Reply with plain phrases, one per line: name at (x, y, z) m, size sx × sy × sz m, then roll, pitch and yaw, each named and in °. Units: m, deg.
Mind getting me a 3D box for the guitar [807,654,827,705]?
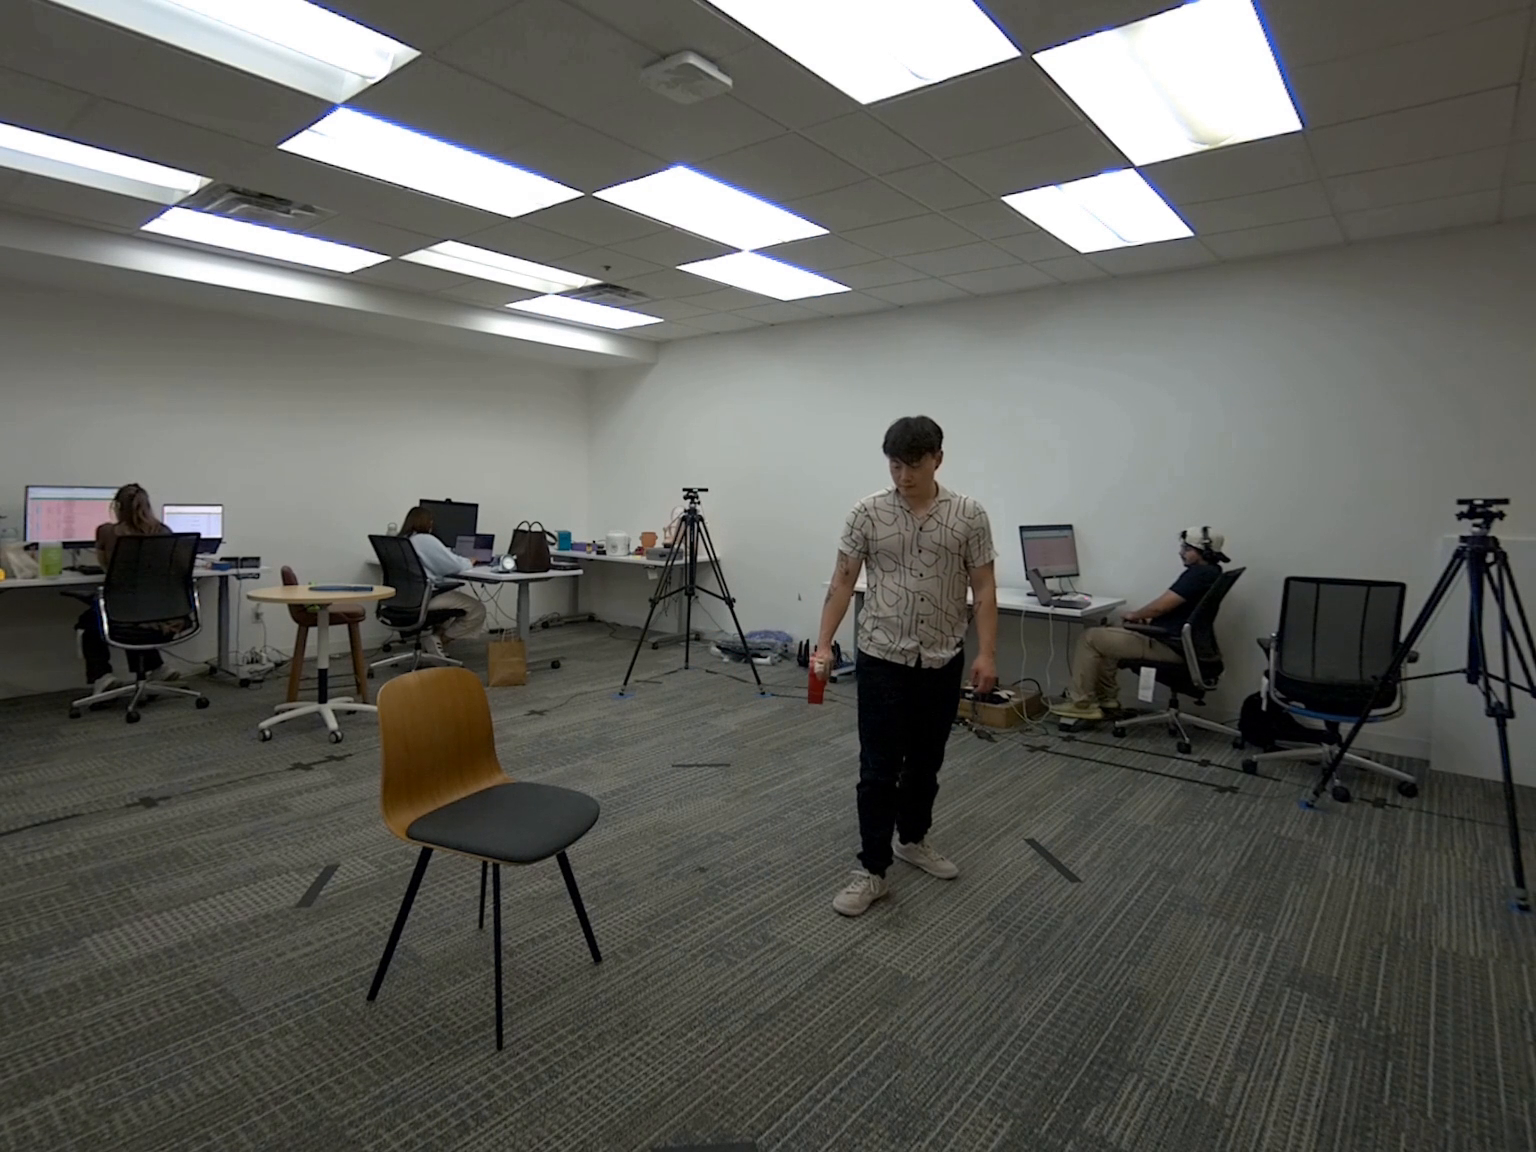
guitar at (0.173, 0.317, 3.066) m, size 0.071 × 0.196 × 0.487 m, roll 4°, pitch -22°, yaw 2°
